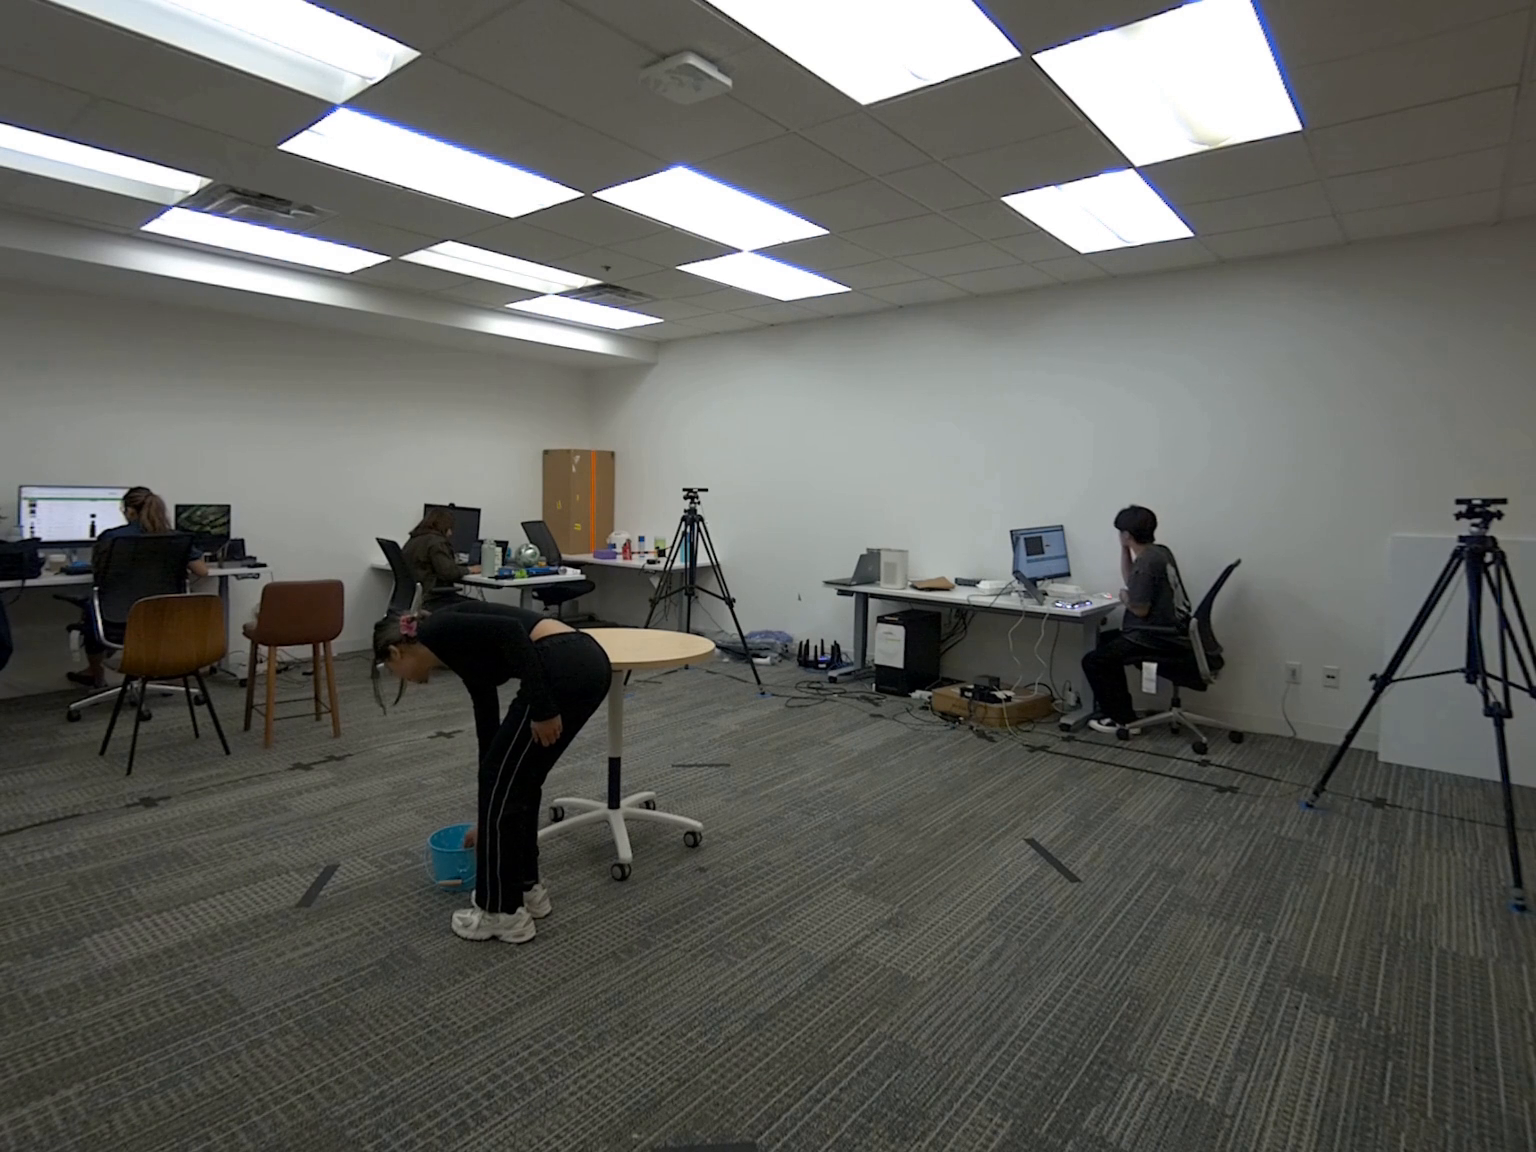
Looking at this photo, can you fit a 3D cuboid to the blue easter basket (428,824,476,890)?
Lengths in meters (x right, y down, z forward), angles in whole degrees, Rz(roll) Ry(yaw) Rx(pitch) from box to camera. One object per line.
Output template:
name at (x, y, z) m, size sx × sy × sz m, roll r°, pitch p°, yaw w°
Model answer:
blue easter basket at (-1.092, 0.991, 2.992) m, size 0.243 × 0.155 × 0.244 m, roll 1°, pitch 4°, yaw -2°
